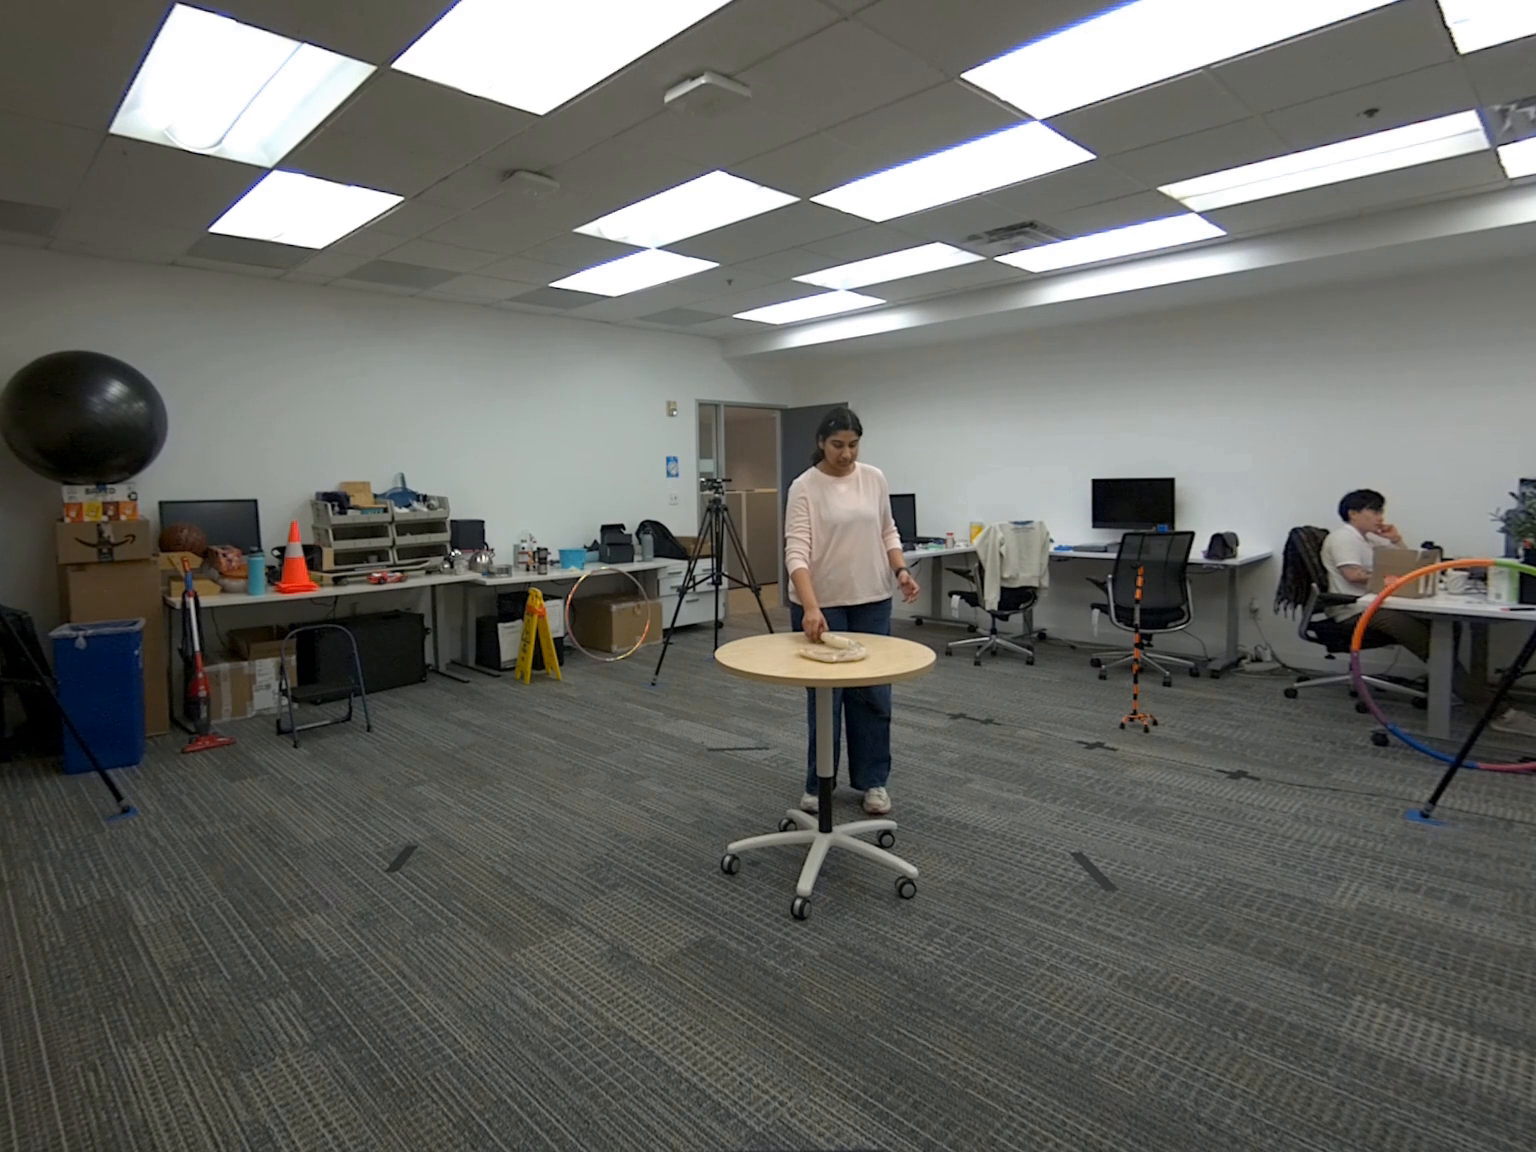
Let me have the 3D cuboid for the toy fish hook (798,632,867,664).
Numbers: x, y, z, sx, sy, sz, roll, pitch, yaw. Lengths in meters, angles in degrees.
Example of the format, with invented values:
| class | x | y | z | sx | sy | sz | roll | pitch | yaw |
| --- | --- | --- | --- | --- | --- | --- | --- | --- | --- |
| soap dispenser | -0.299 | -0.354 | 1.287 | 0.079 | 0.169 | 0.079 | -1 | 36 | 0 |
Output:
| class | x | y | z | sx | sy | sz | roll | pitch | yaw |
| --- | --- | --- | --- | --- | --- | --- | --- | --- | --- |
| toy fish hook | 0.187 | 0.242 | 3.067 | 0.222 | 0.048 | 0.515 | -1 | 7 | -13 |
